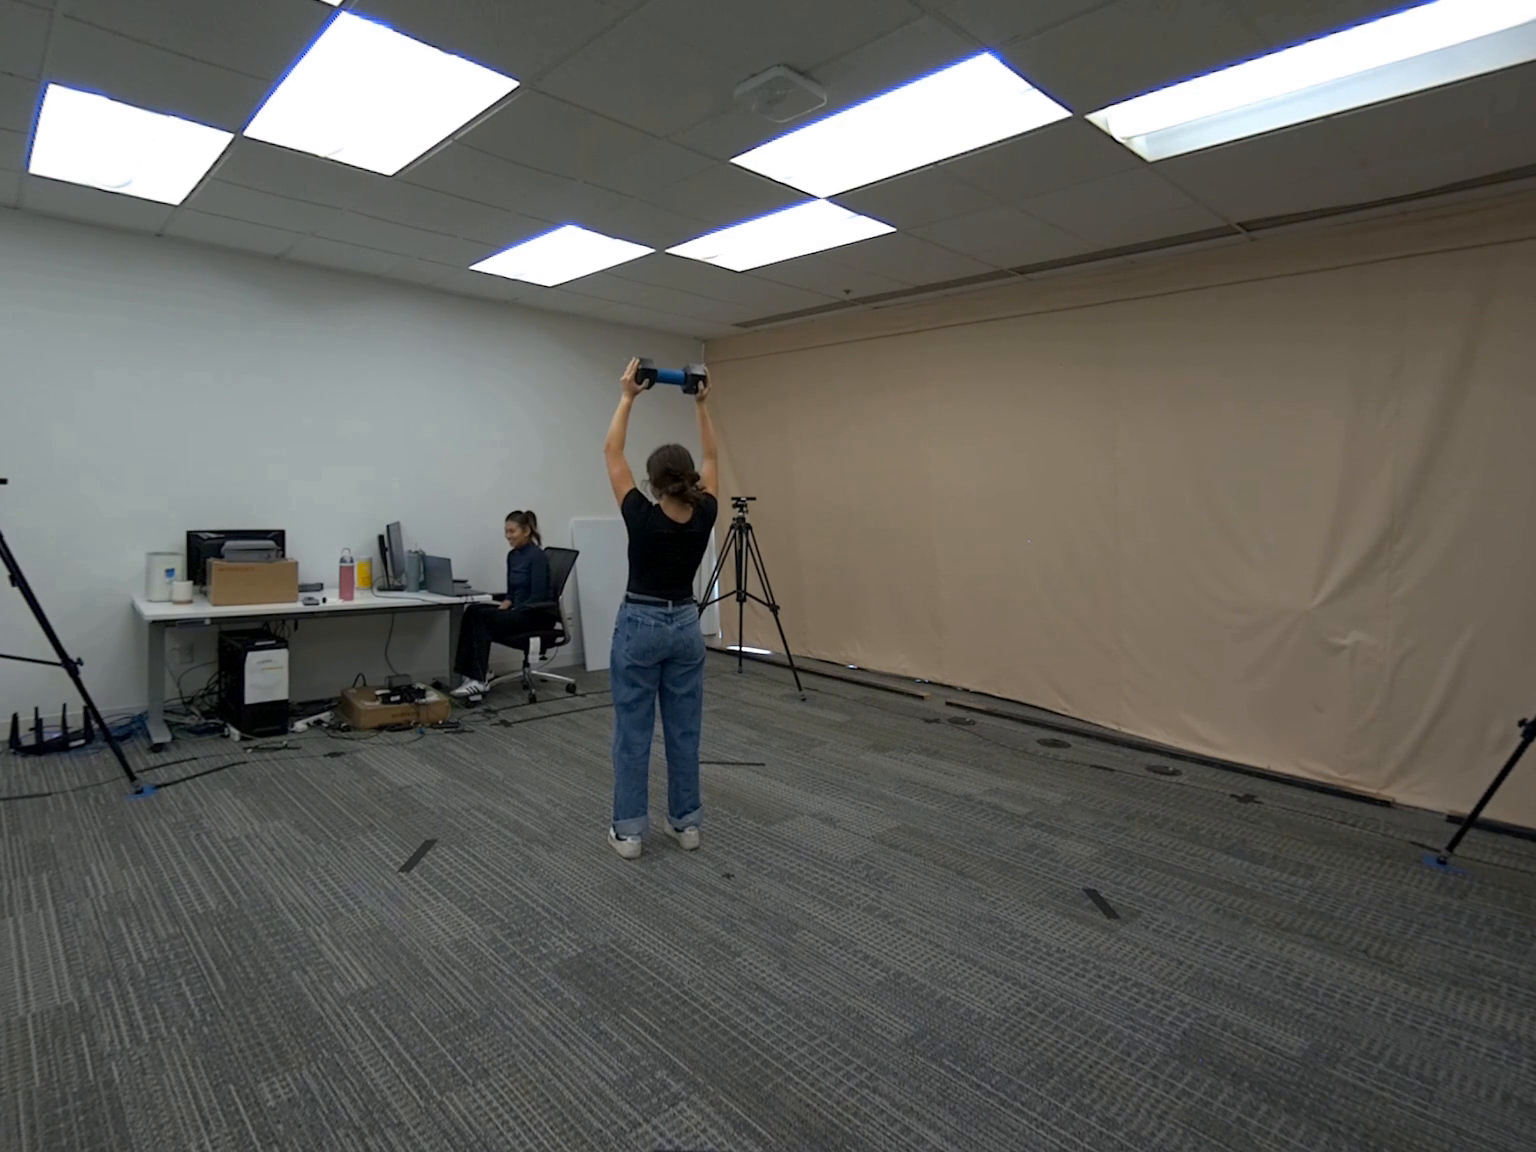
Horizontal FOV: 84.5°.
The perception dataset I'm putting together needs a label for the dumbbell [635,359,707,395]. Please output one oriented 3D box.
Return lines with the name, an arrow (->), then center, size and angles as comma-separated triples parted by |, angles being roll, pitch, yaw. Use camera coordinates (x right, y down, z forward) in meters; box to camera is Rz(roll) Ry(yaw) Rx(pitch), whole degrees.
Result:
dumbbell -> -0.409, -0.791, 3.367 | 0.288, 0.126, 0.108 | 1, -39, -26
